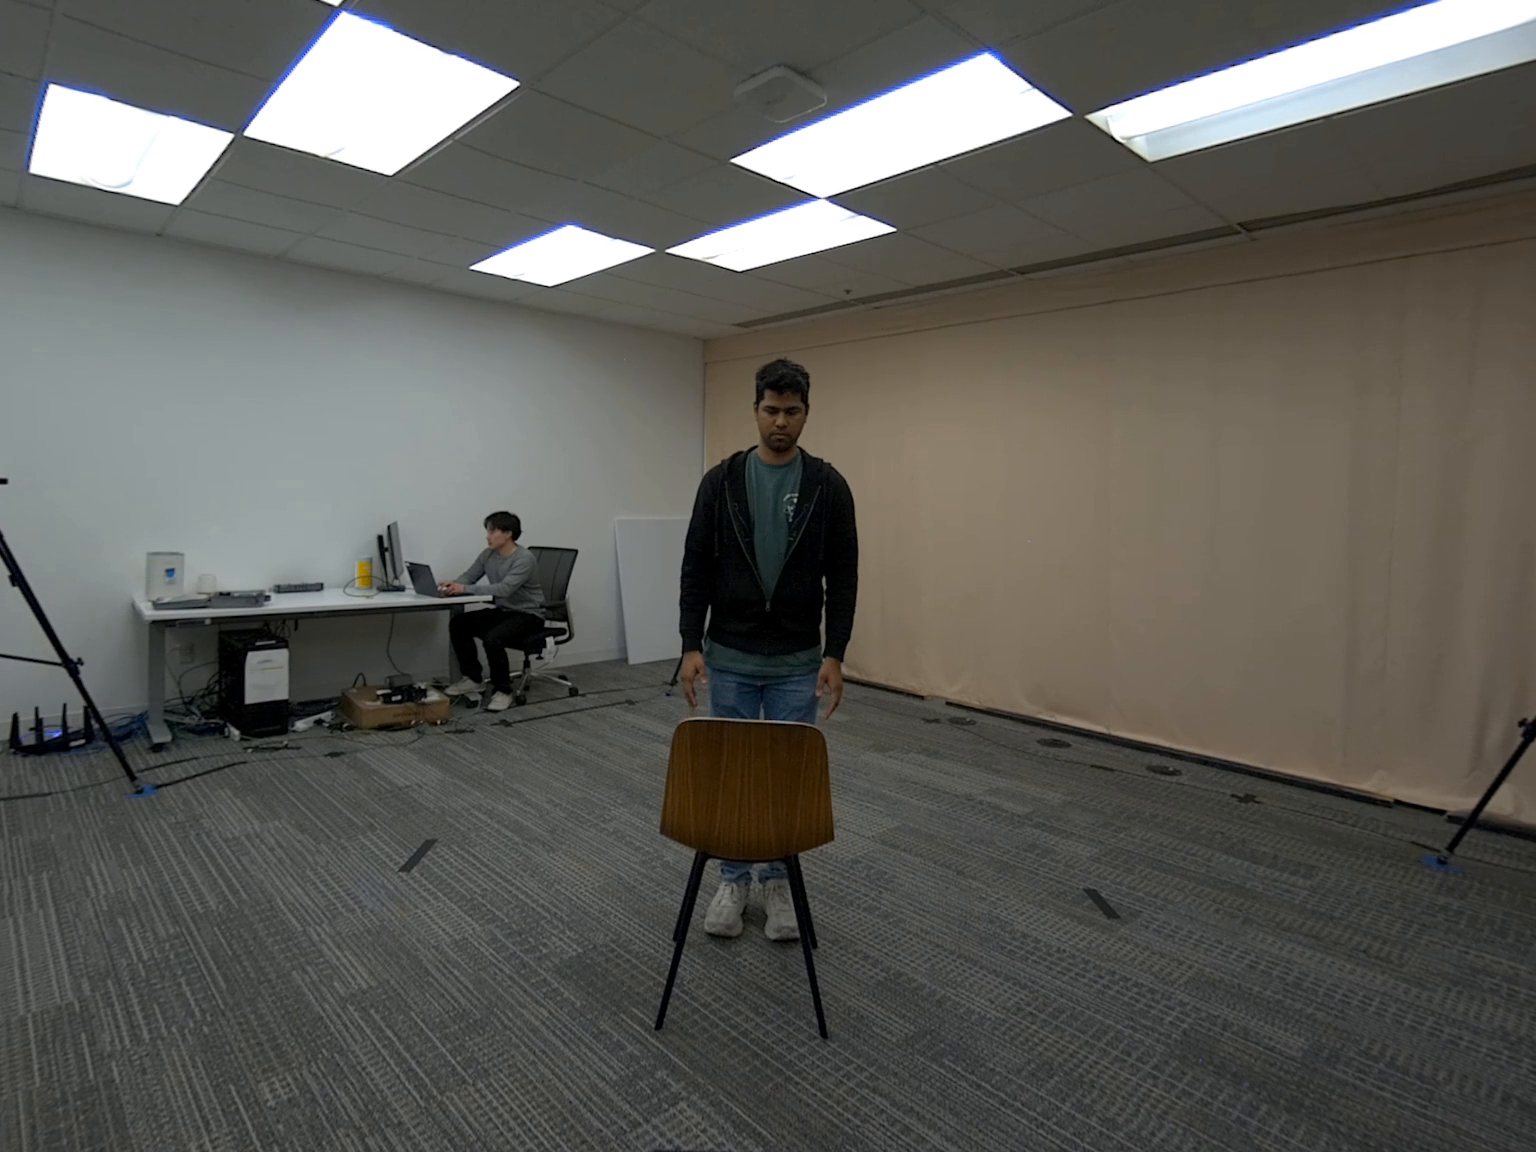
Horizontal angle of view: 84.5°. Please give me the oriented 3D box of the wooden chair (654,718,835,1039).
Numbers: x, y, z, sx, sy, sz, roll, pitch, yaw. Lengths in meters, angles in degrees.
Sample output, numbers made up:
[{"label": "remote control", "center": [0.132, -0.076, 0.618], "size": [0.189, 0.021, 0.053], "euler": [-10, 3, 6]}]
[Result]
[{"label": "wooden chair", "center": [-0.070, 0.748, 2.384], "size": [0.478, 0.872, 0.525], "euler": [1, 8, 0]}]
